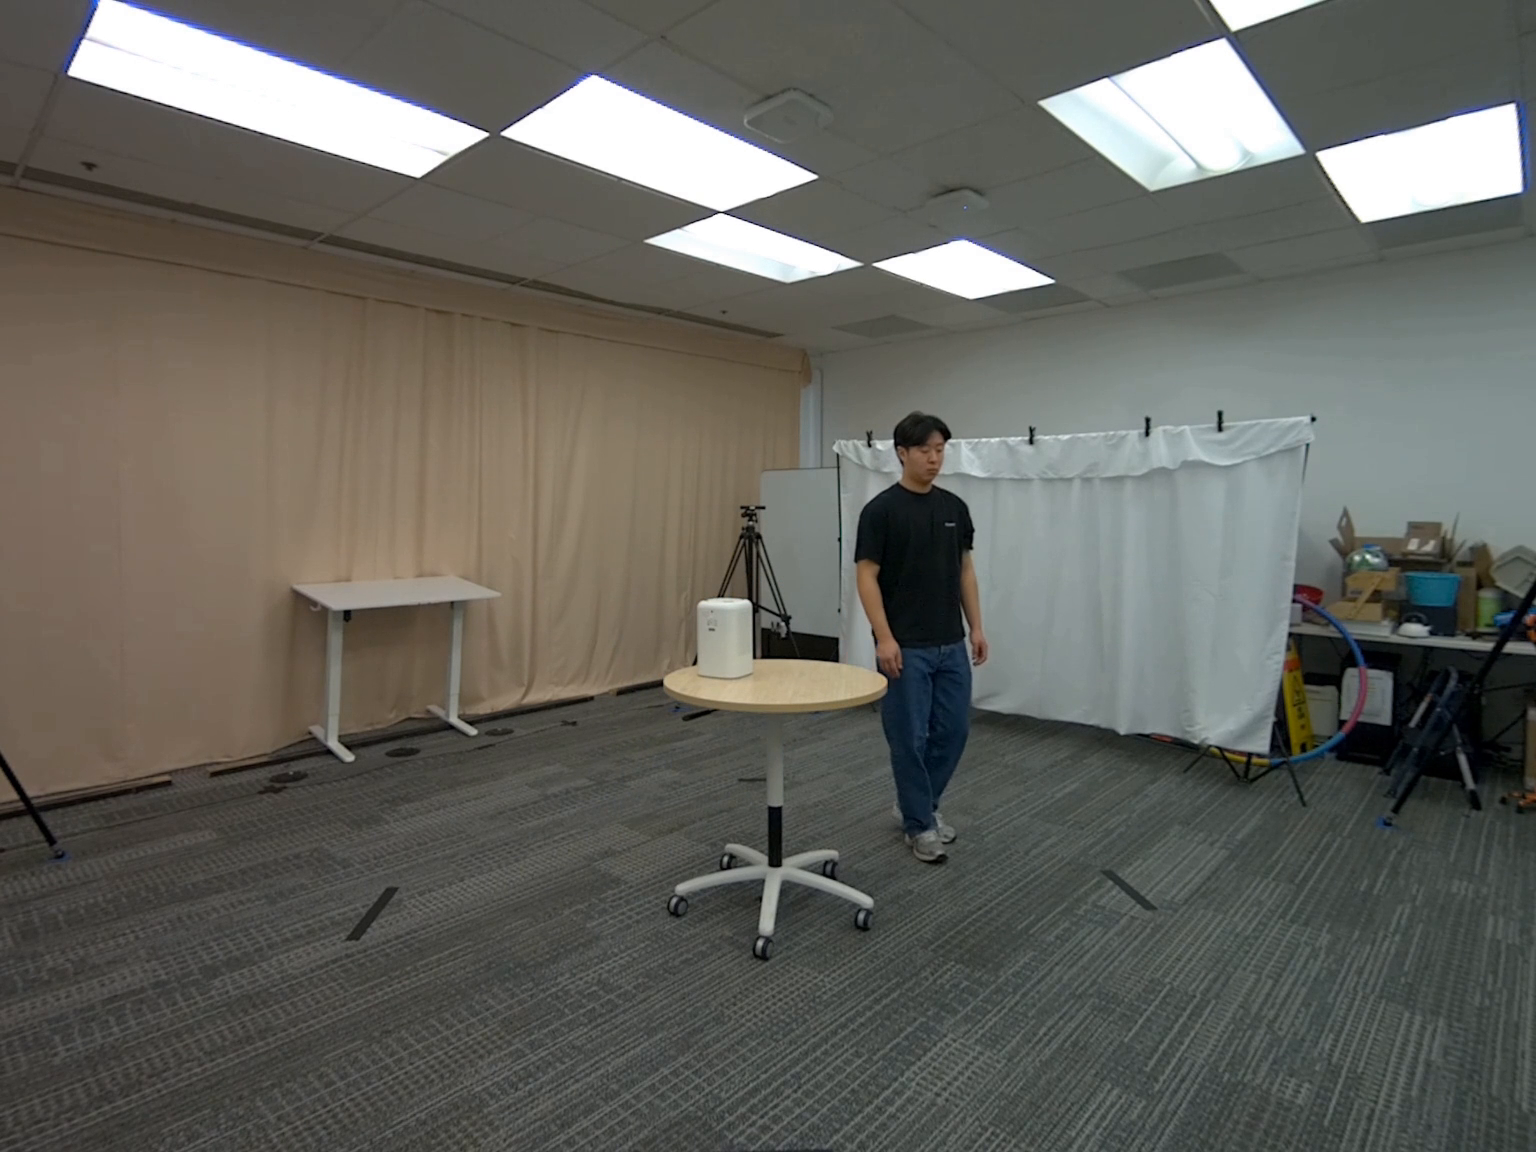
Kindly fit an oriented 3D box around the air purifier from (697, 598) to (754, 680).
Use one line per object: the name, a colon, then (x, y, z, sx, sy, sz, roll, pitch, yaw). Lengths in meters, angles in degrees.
air purifier: (-0.150, 0.216, 2.988, 0.176, 0.265, 0.167, 1, 2, 30)
